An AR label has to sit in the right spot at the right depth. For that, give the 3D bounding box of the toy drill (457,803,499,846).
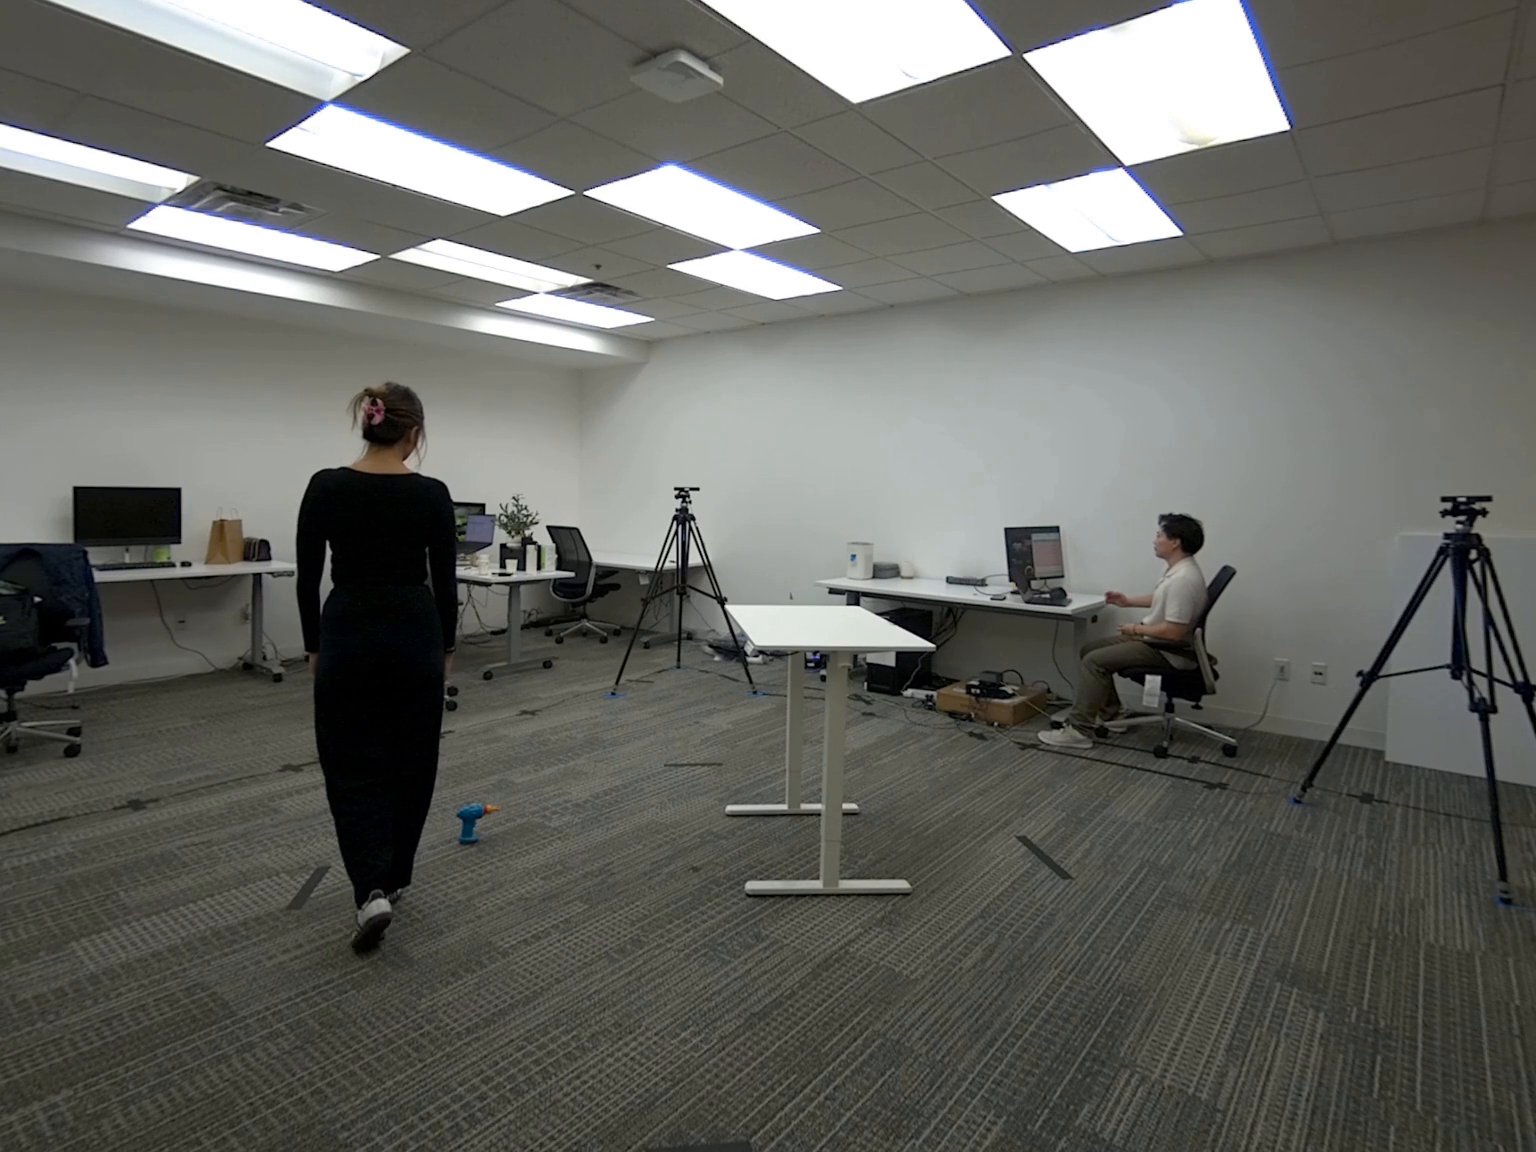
[{"bbox_3d":[-1.147,0.958,3.325,0.165,0.146,0.063,-2,3,-31],"label":"toy drill"}]
